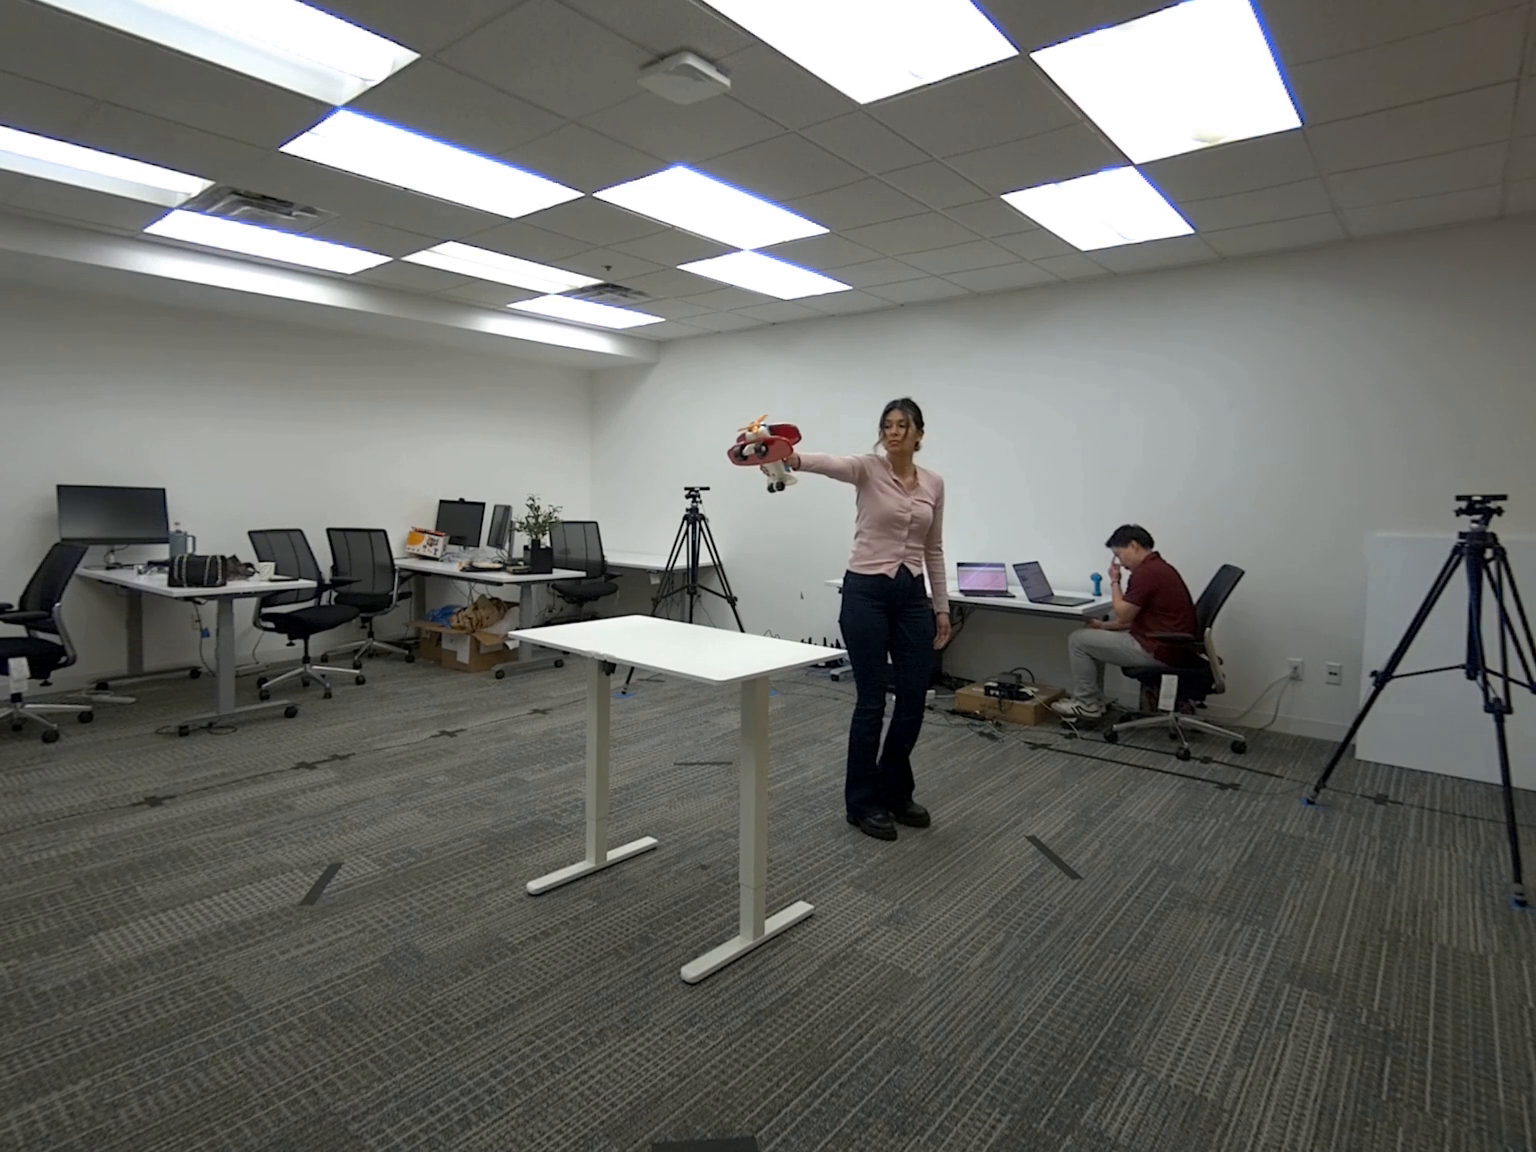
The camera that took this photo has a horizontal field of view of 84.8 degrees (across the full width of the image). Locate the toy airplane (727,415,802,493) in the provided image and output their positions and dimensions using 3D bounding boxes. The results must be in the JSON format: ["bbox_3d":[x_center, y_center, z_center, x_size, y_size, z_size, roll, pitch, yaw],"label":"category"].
[{"bbox_3d":[-0.021,-0.411,2.935,0.256,0.159,0.251,10,-33,14],"label":"toy airplane"}]
